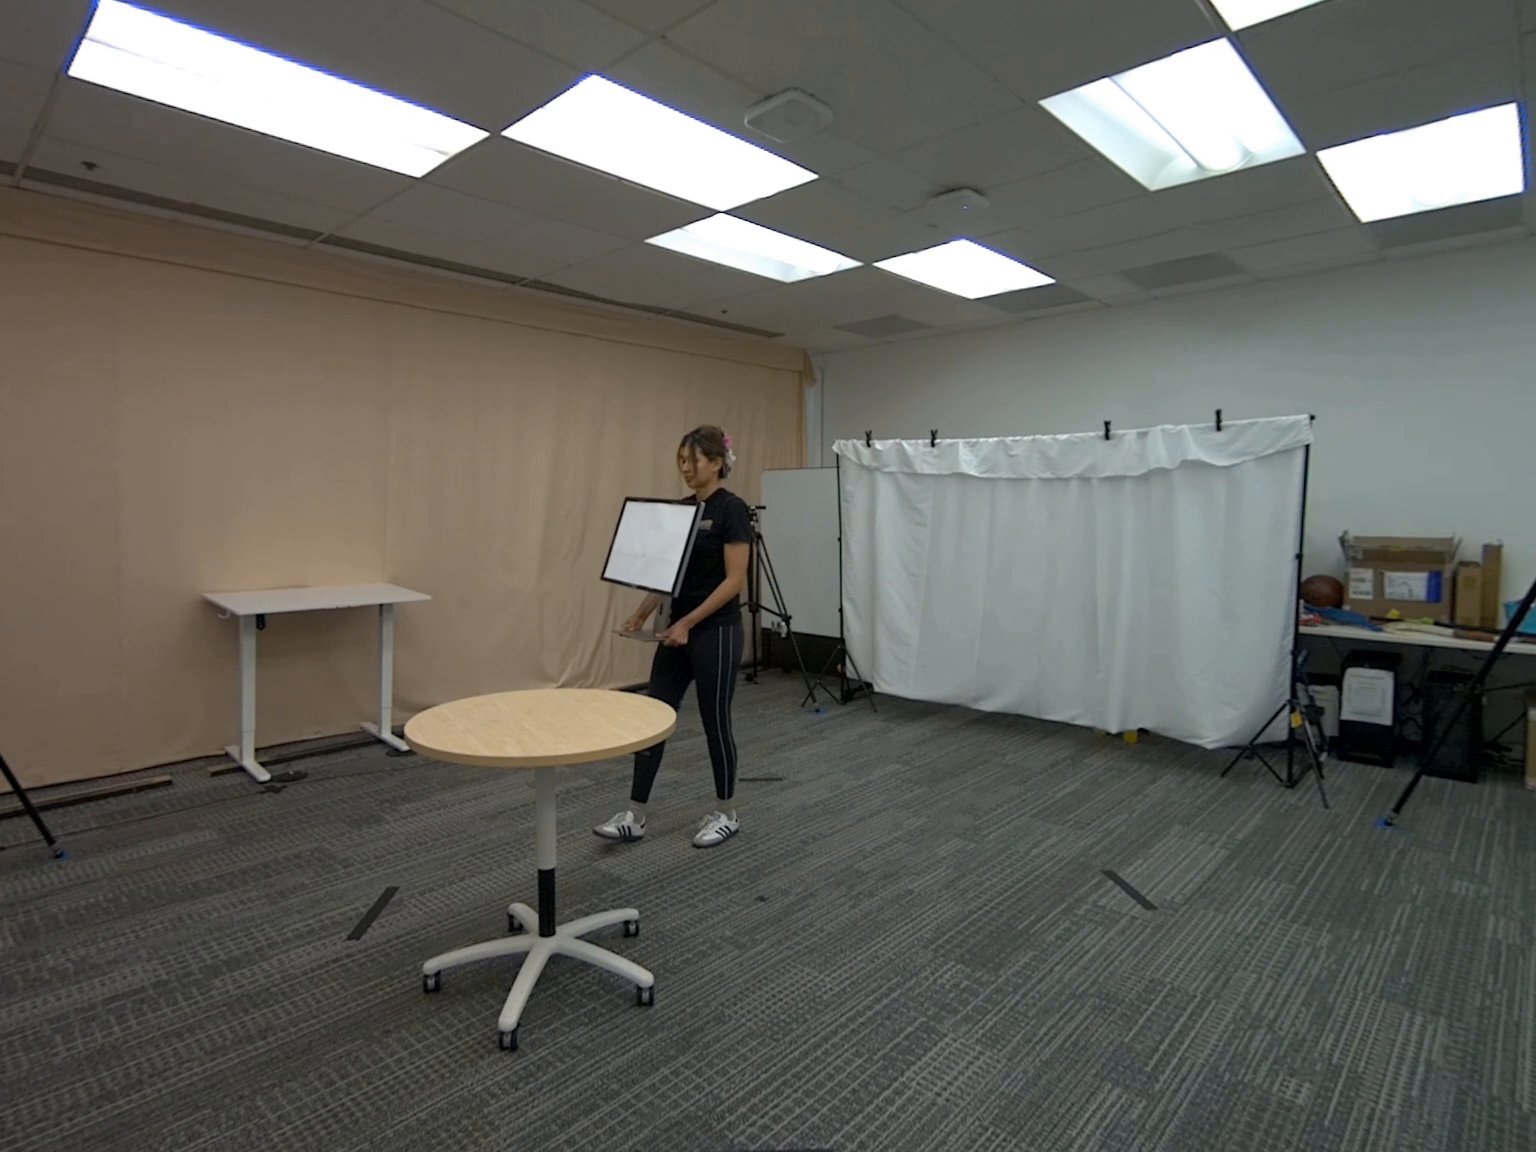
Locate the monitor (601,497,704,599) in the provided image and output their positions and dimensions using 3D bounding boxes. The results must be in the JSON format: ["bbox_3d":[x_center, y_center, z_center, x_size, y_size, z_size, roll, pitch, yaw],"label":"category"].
[{"bbox_3d":[-0.446,-0.031,3.302,0.181,0.522,0.557,5,3,-39],"label":"monitor"}]
